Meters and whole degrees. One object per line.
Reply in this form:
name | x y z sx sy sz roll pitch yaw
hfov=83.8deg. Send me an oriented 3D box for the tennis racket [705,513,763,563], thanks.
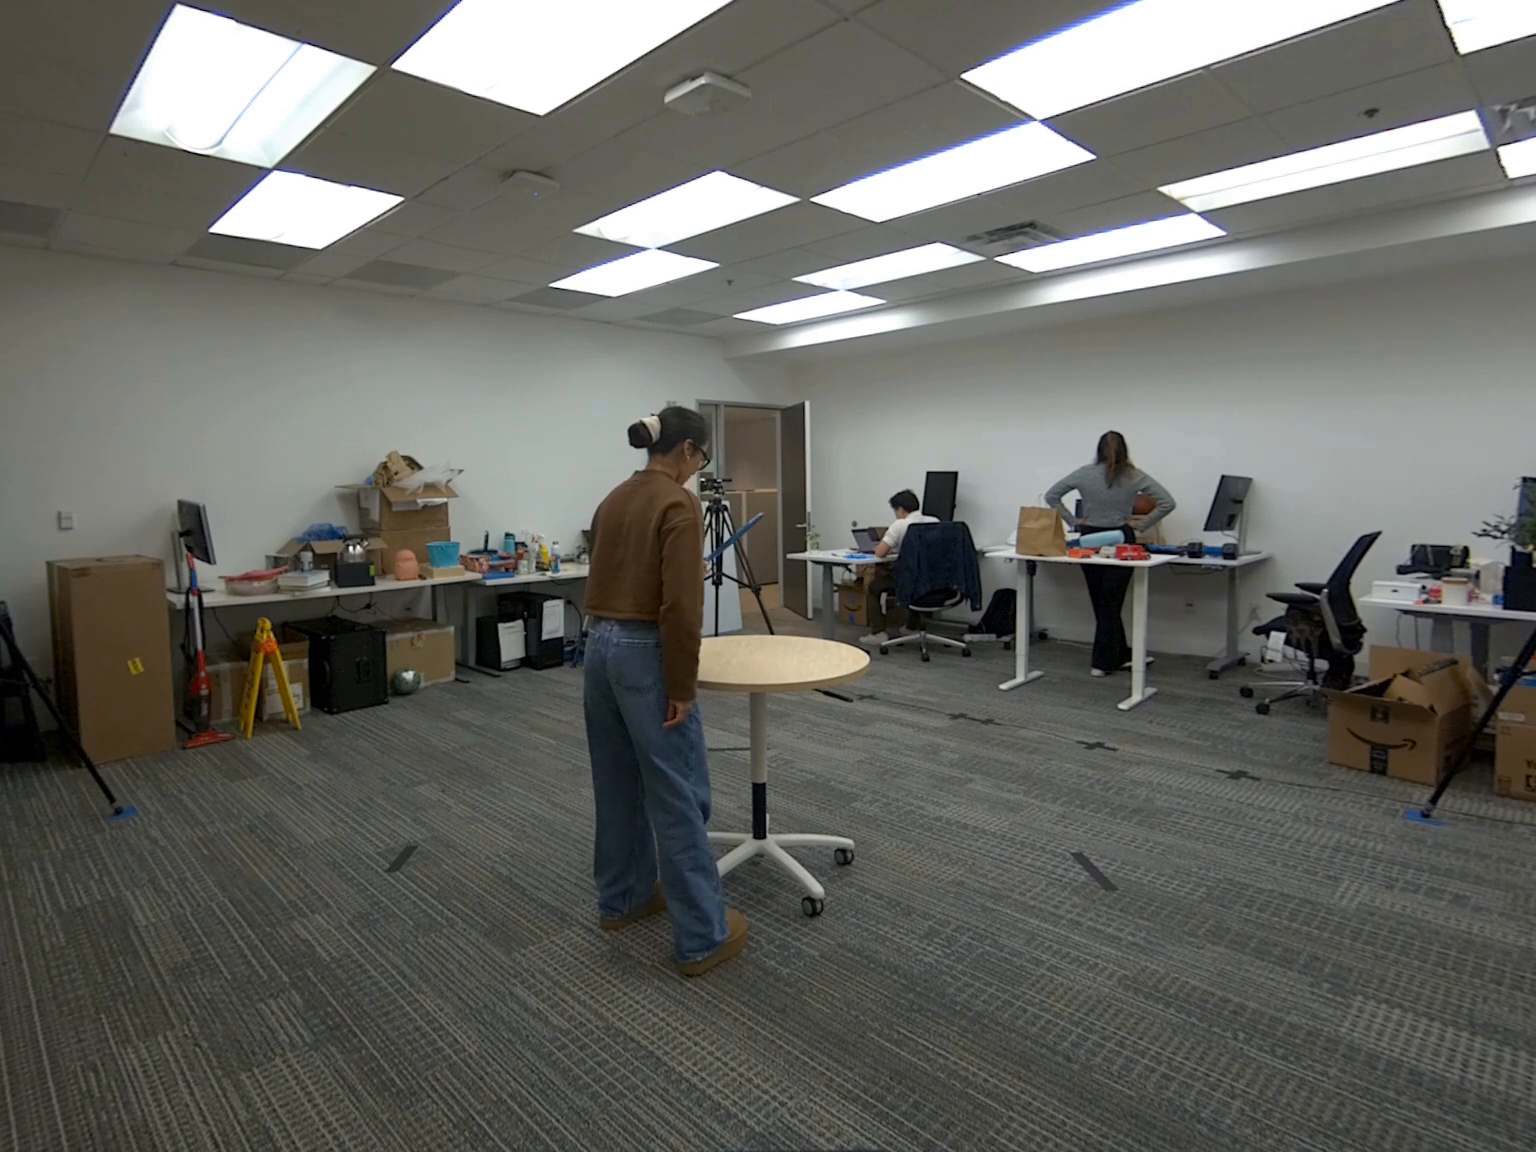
tennis racket | -0.142 -0.101 3.030 0.432 0.032 0.212 -45 -6 -46
